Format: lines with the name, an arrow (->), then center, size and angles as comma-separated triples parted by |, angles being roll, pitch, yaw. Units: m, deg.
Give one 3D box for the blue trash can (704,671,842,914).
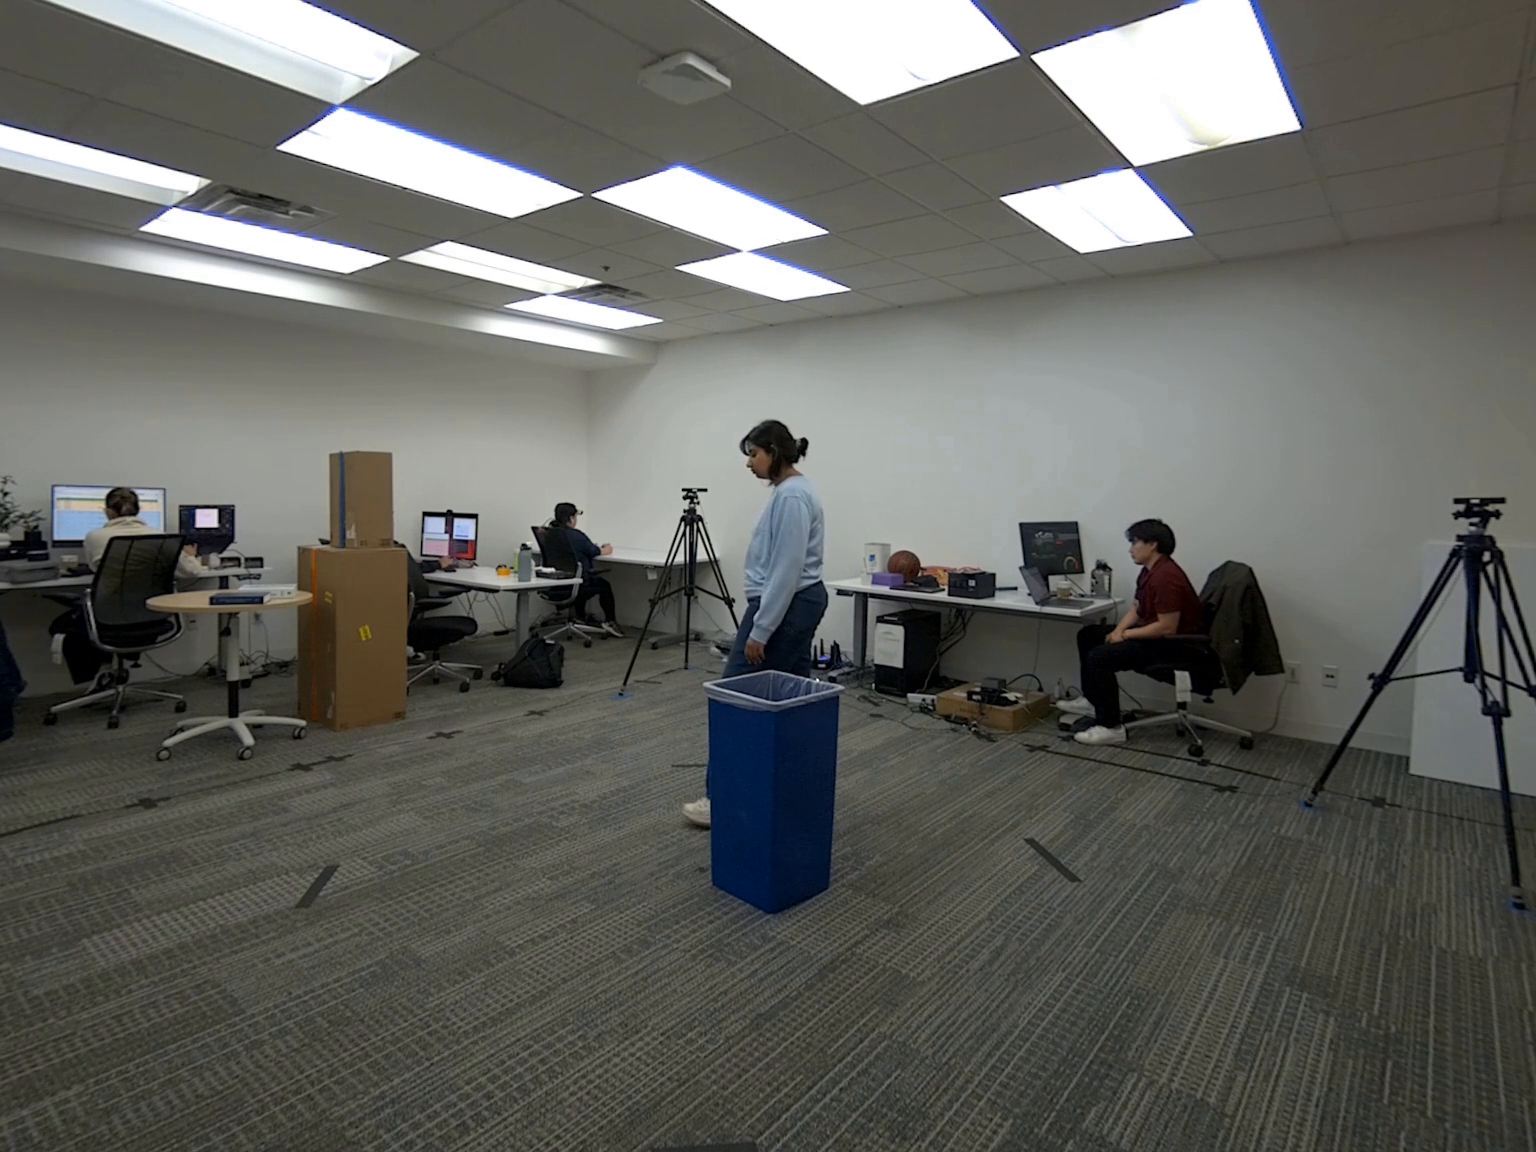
blue trash can -> 0.004, 0.730, 2.964 | 0.362, 0.712, 0.391 | -2, 4, -44
